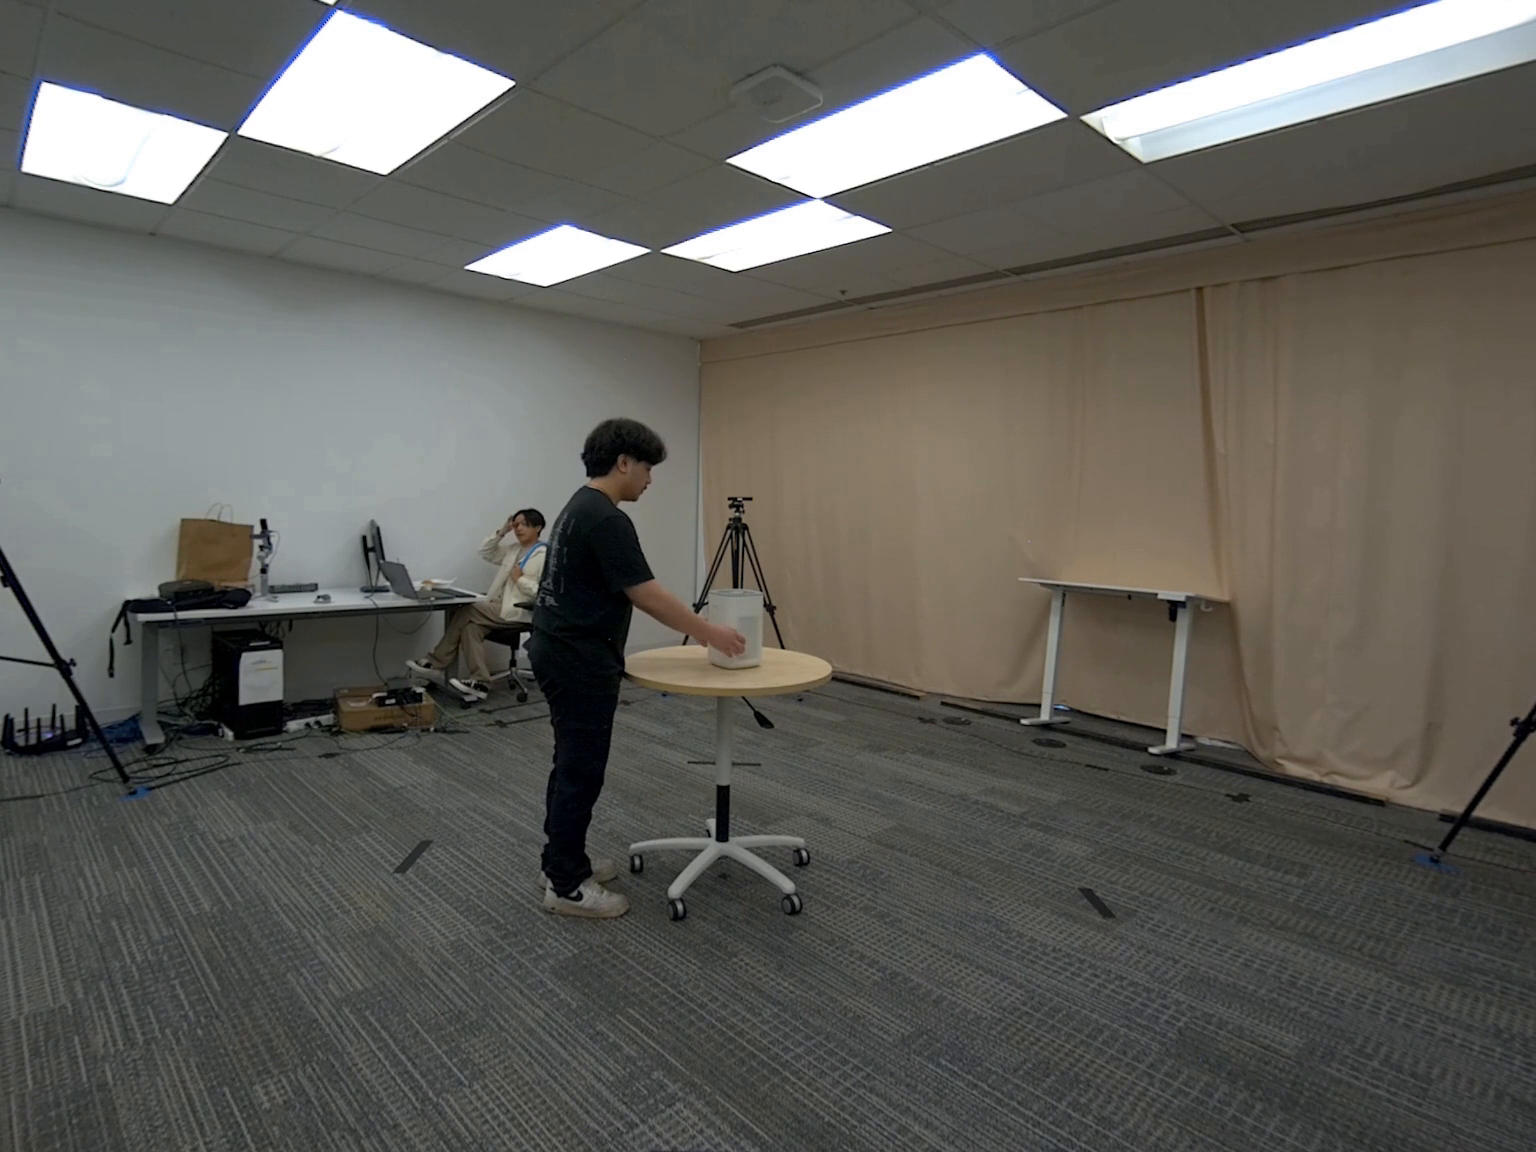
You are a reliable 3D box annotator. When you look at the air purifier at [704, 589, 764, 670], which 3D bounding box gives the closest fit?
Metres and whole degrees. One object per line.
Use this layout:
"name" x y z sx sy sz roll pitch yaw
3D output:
"air purifier" -0.126 0.187 3.021 0.168 0.264 0.175 -2 5 -37
